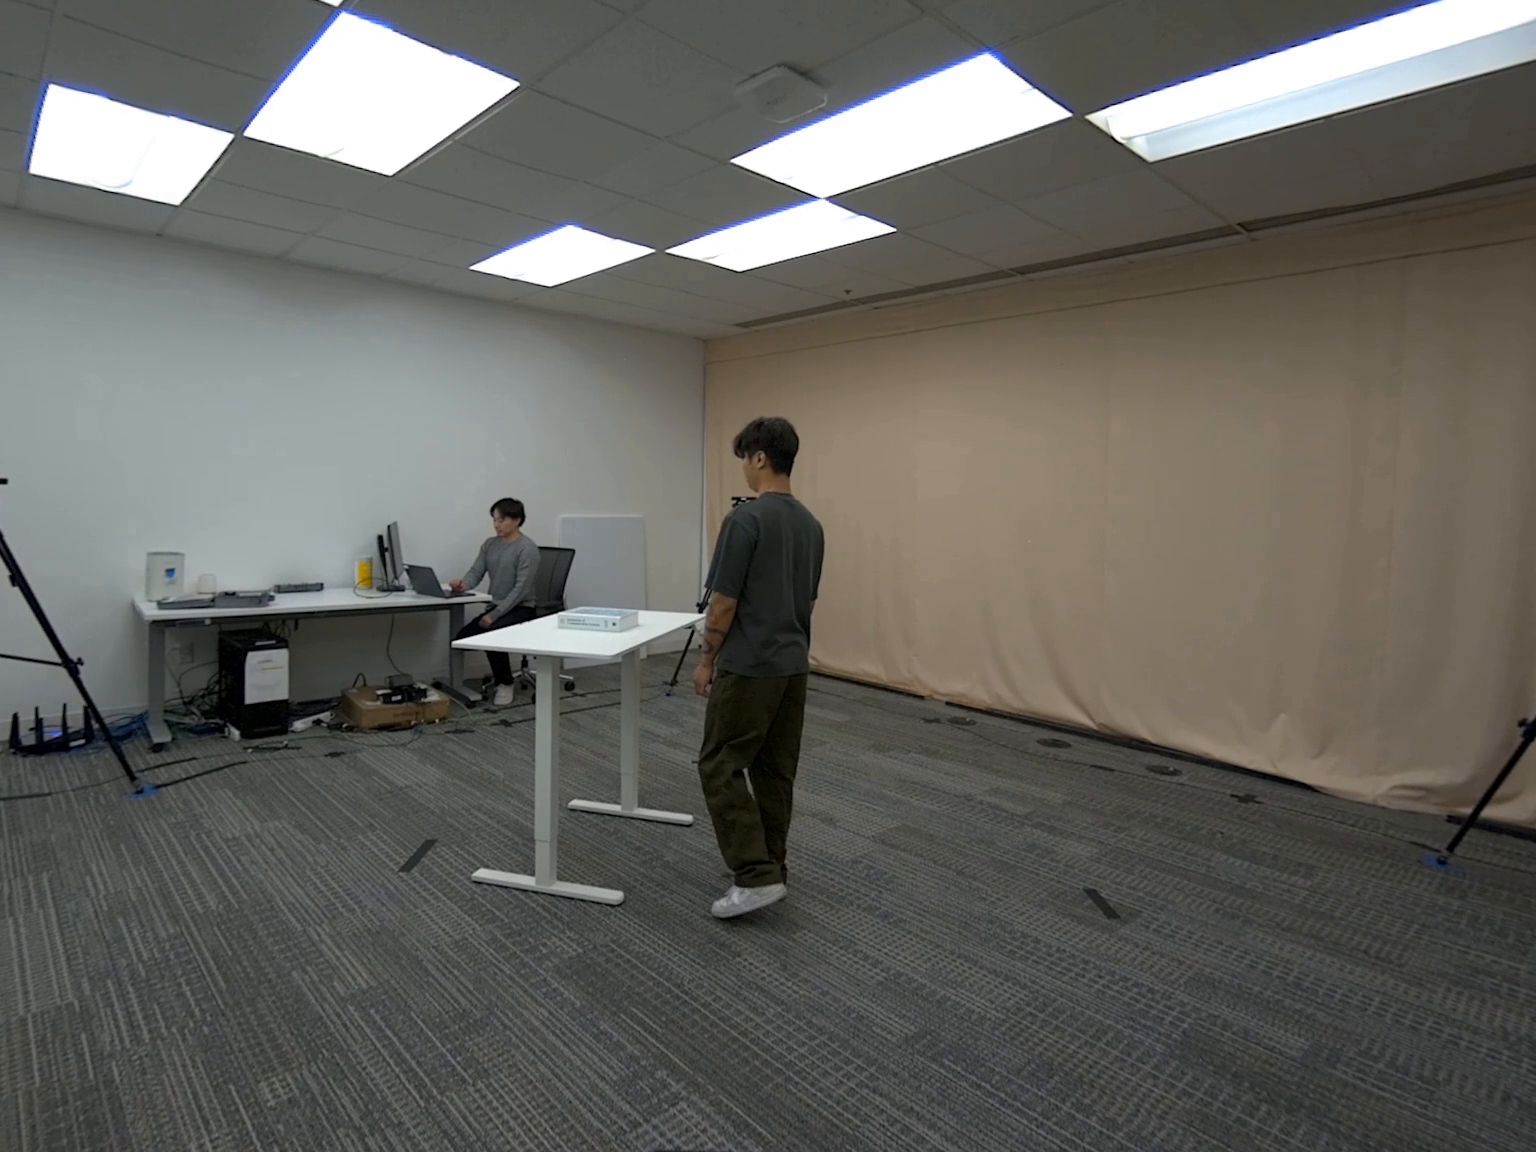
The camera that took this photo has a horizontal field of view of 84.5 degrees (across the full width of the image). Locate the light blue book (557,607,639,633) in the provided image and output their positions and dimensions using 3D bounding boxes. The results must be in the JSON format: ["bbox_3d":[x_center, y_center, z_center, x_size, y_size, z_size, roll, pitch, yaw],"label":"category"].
[{"bbox_3d":[-0.676,0.169,3.275,0.264,0.059,0.190,3,5,13],"label":"light blue book"}]
